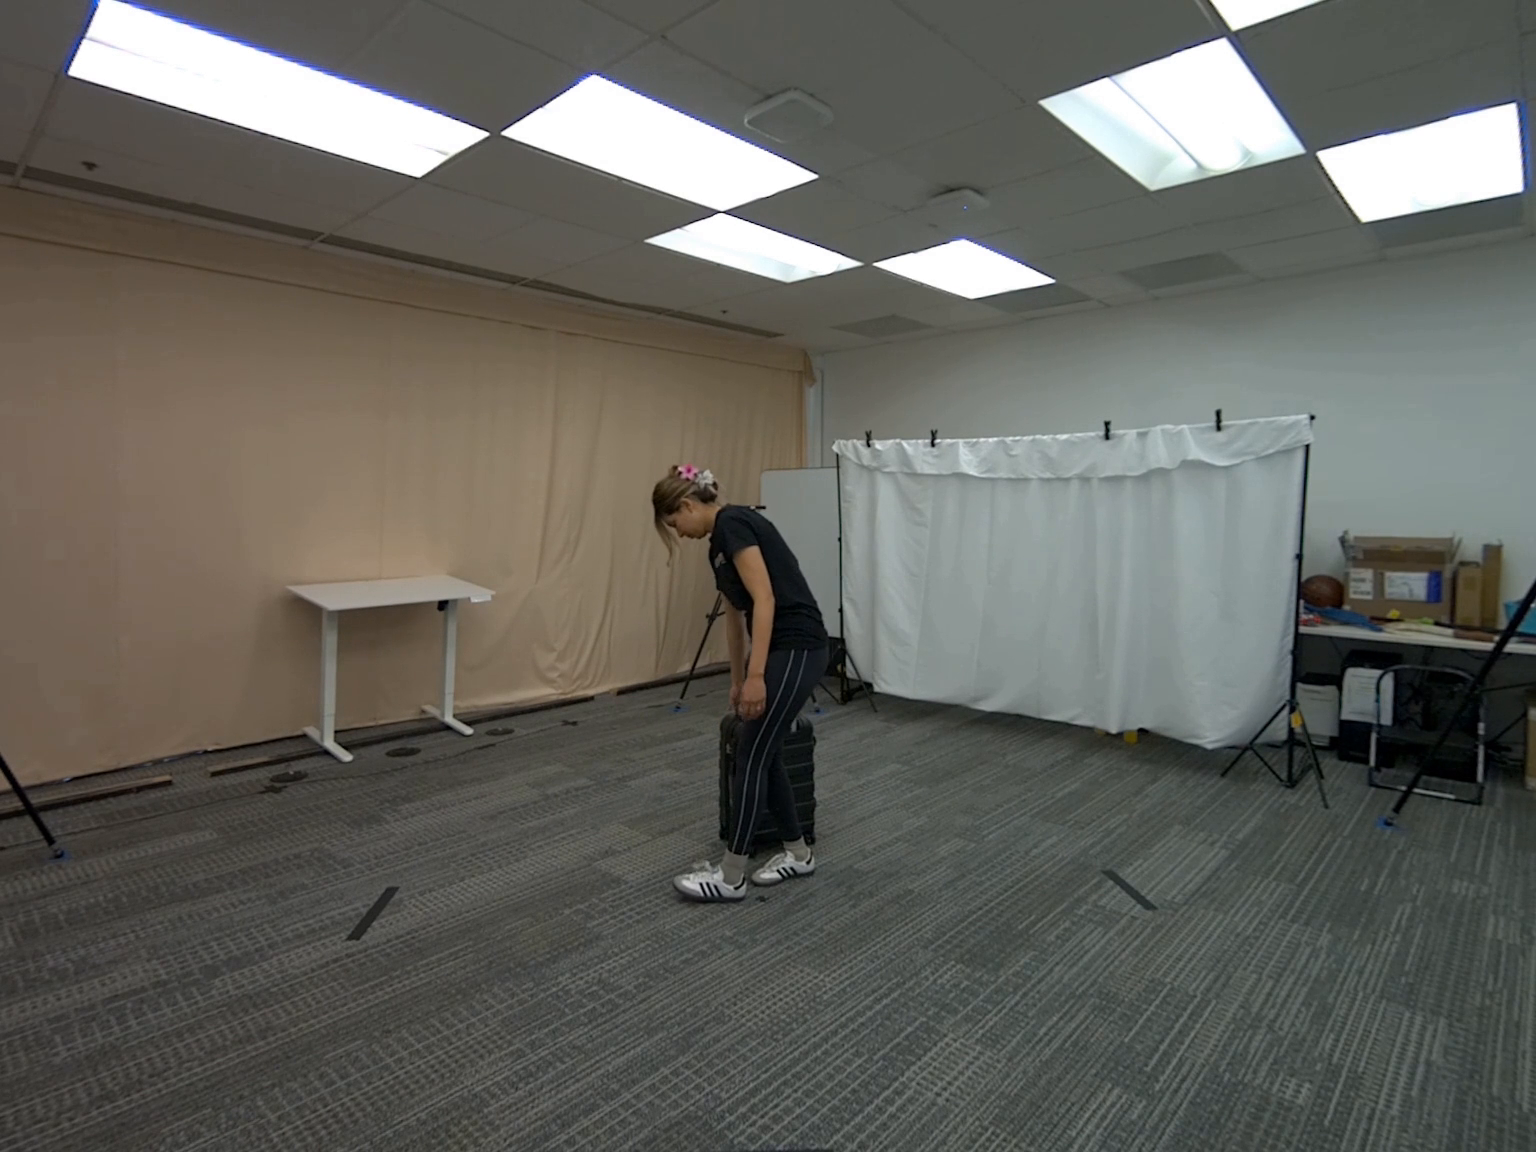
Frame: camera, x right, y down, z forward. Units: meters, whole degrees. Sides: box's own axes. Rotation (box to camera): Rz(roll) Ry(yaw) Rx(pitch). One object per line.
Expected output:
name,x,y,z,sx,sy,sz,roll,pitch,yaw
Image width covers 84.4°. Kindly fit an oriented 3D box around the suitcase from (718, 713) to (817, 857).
suitcase,-0.009,0.628,3.471,0.375,0.978,0.263,-2,1,-25
